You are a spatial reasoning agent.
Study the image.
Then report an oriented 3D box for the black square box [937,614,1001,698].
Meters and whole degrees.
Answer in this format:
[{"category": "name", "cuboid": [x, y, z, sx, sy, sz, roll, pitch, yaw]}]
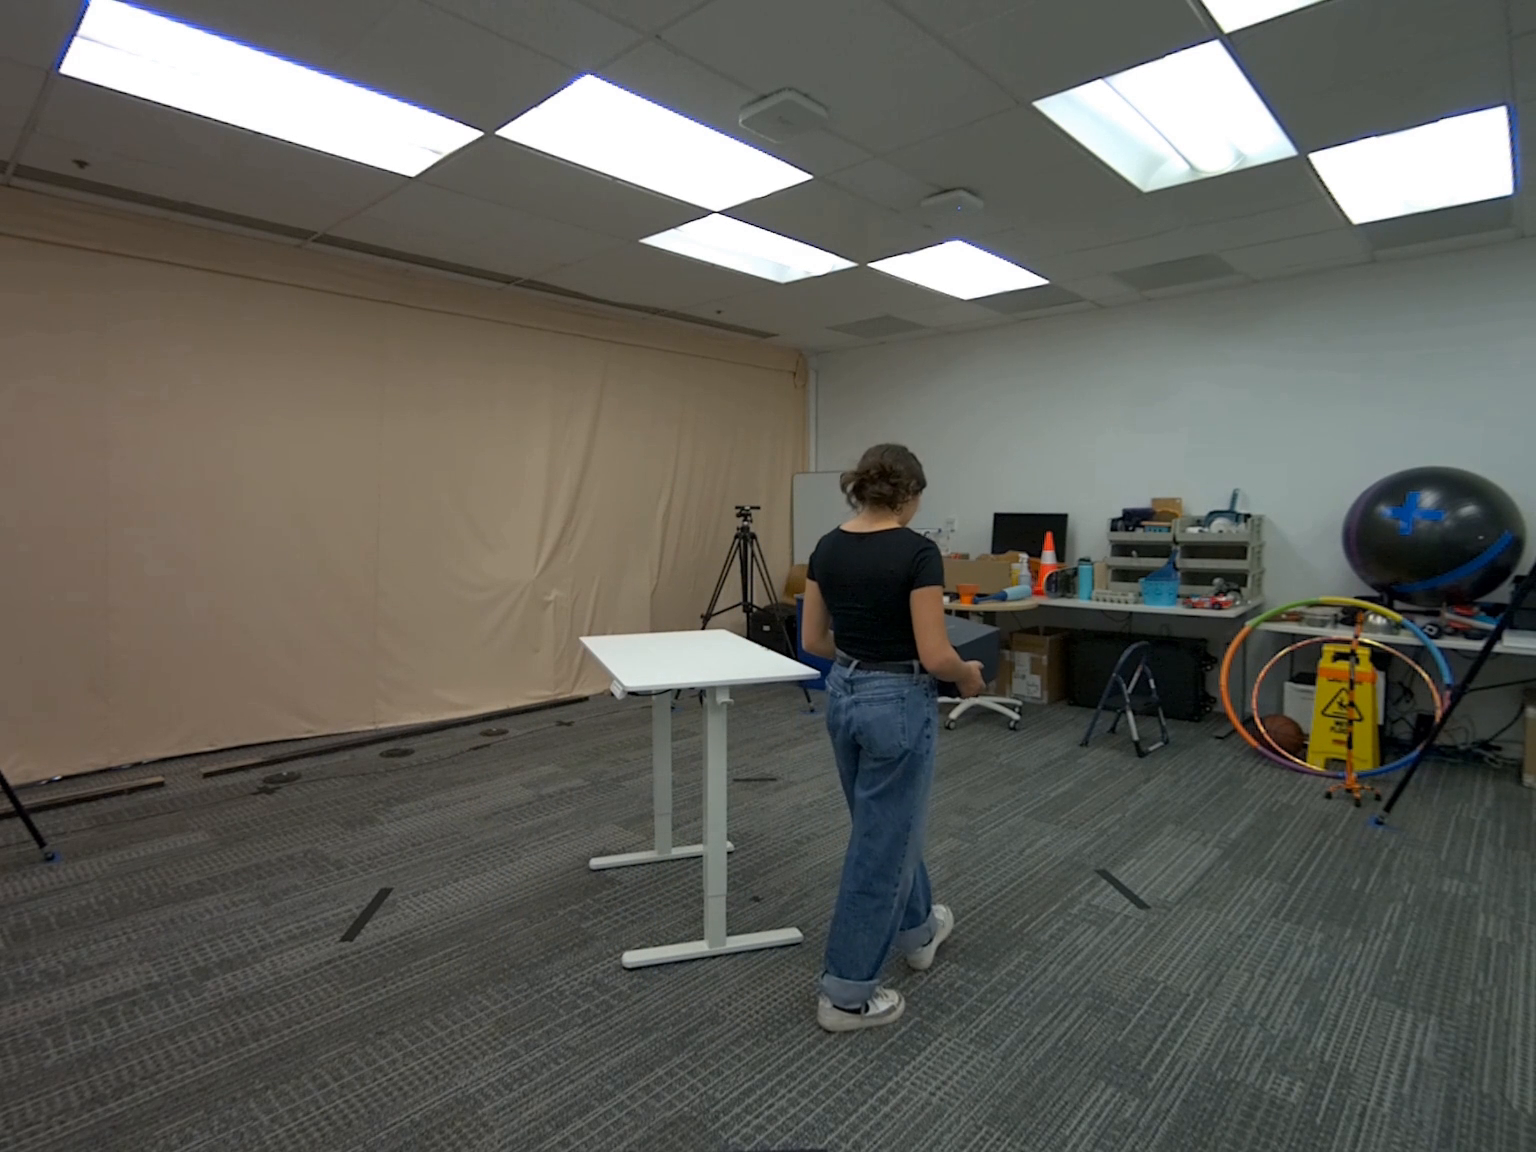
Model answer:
[{"category": "black square box", "cuboid": [0.530, 0.221, 2.445, 0.222, 0.154, 0.225, -14, 20, -41]}]
